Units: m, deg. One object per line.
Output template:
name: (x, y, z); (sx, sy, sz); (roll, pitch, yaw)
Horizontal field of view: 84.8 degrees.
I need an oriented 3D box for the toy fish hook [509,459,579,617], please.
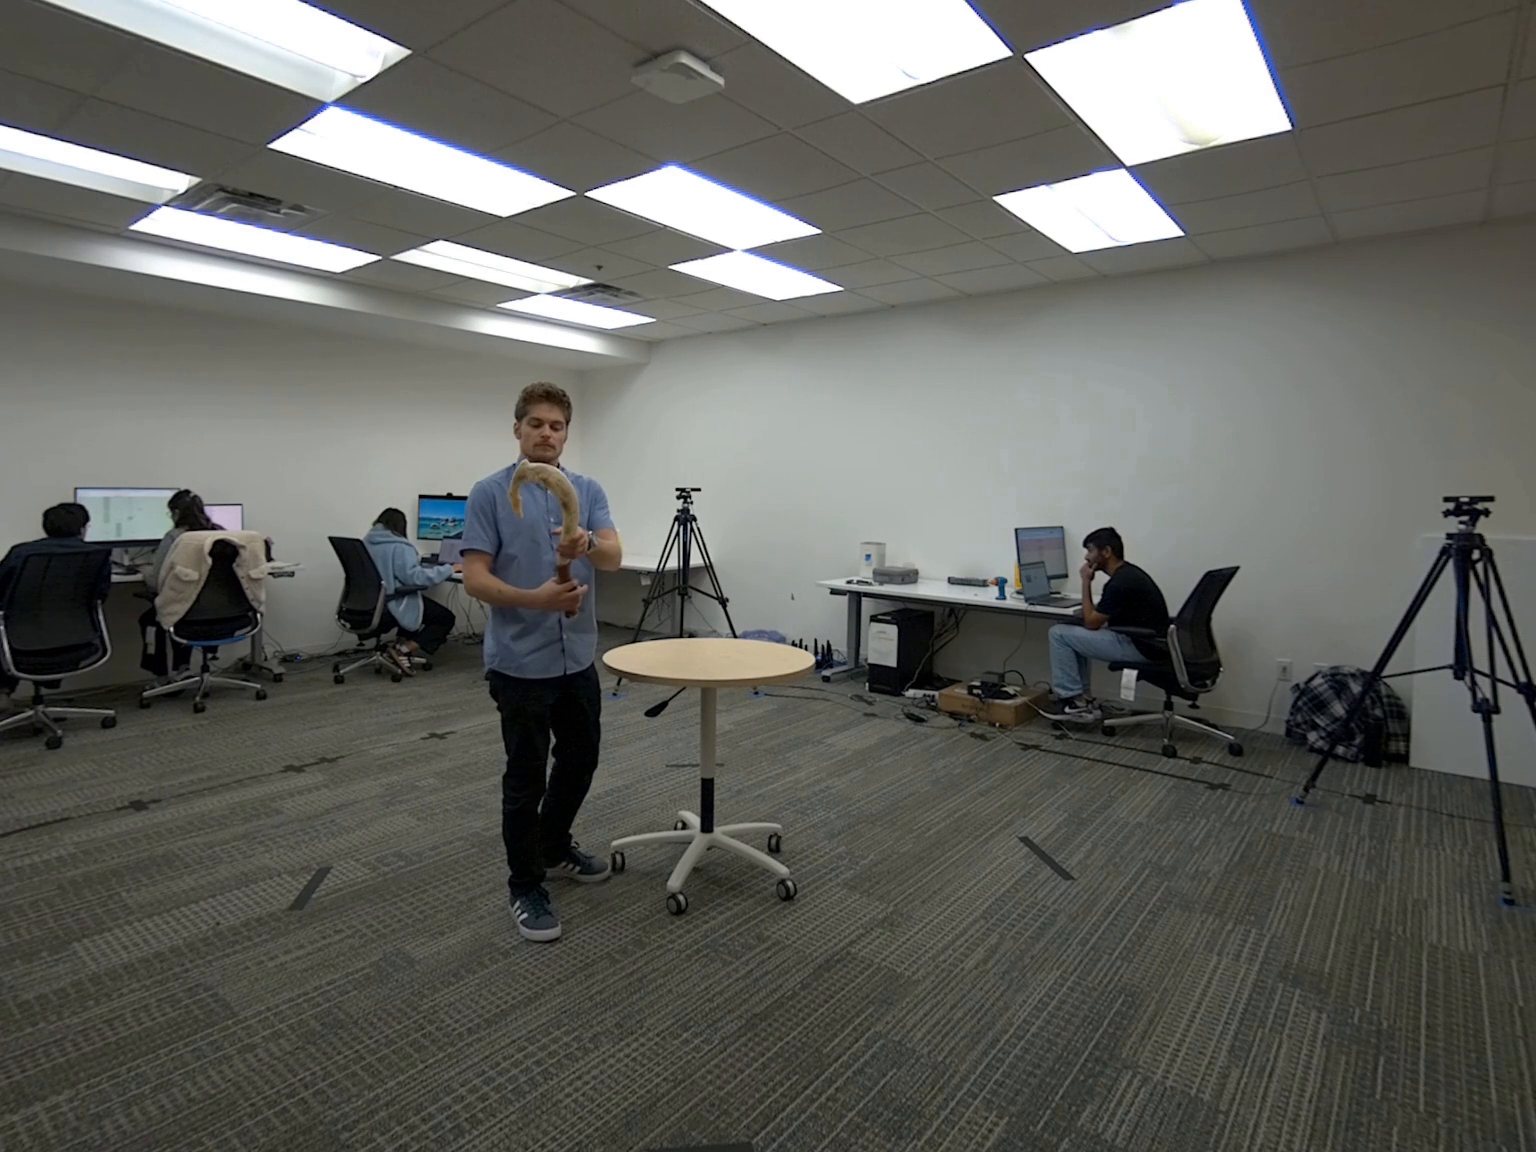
toy fish hook: (-0.633, -0.103, 2.399); (0.231, 0.495, 0.048); (20, 35, 21)
